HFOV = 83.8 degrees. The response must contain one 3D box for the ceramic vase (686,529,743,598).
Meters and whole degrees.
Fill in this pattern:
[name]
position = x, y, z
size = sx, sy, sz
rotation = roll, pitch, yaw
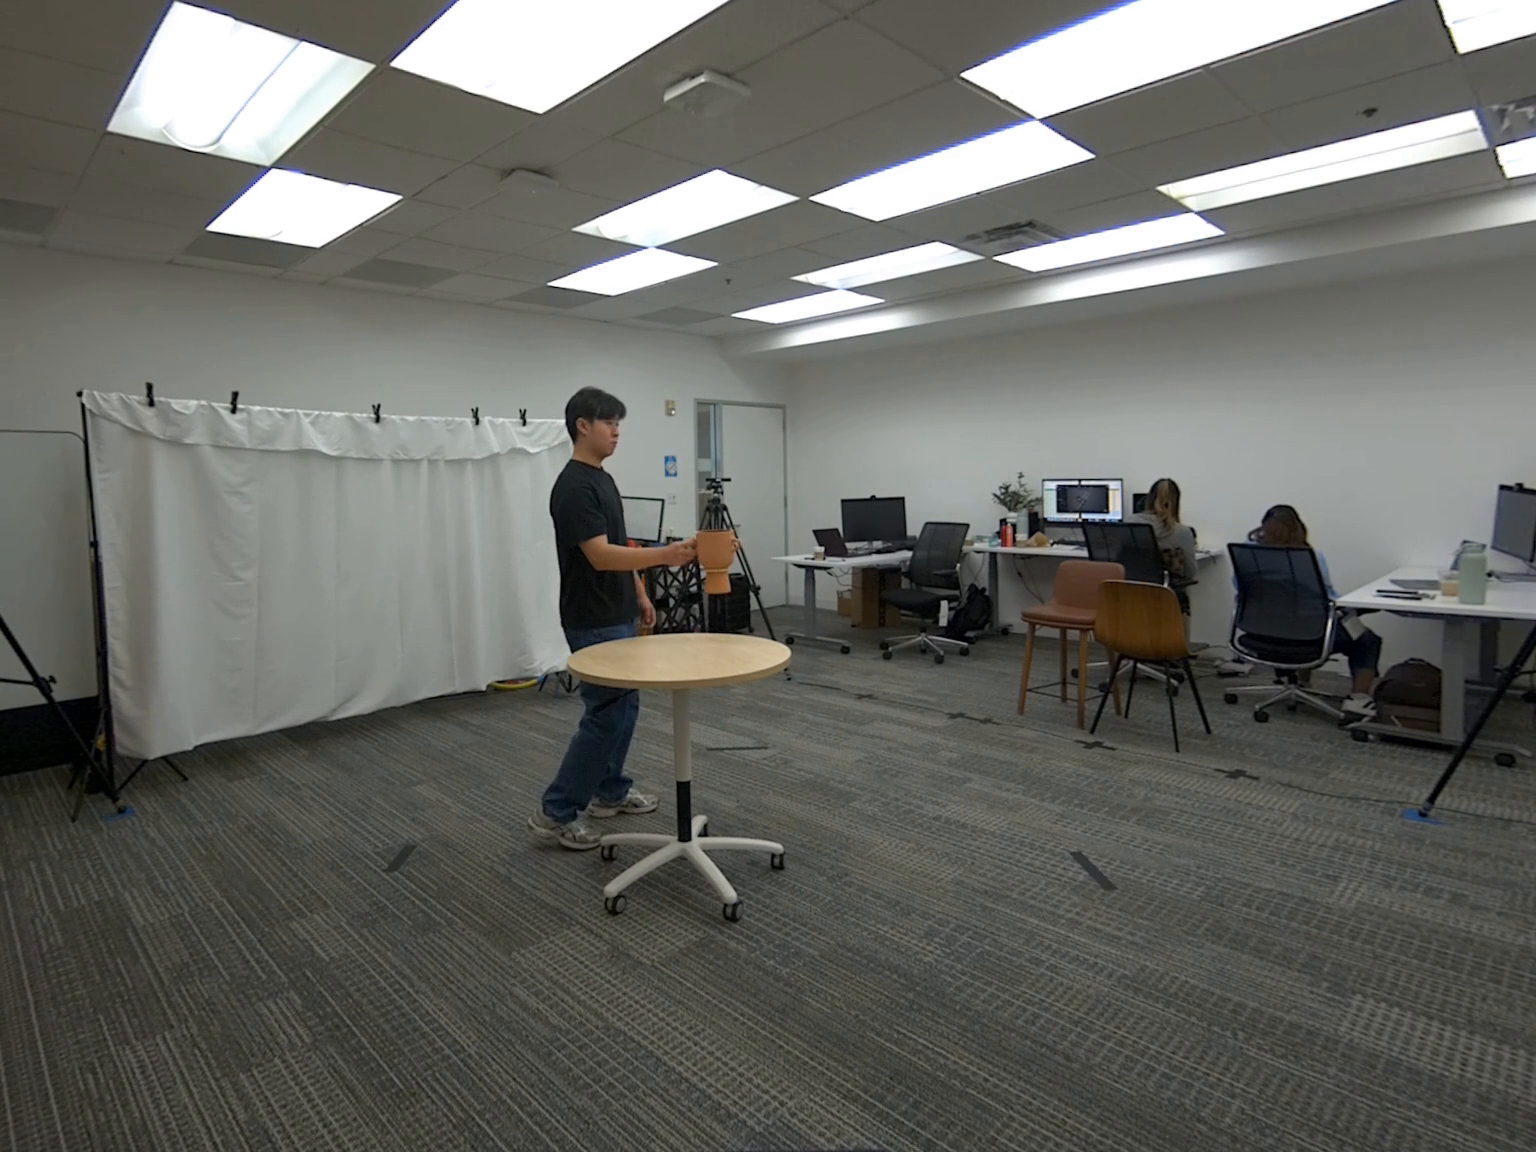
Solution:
[ceramic vase]
position = -0.195, -0.050, 3.081
size = 0.131, 0.219, 0.163
rotation = -5, 7, -31
